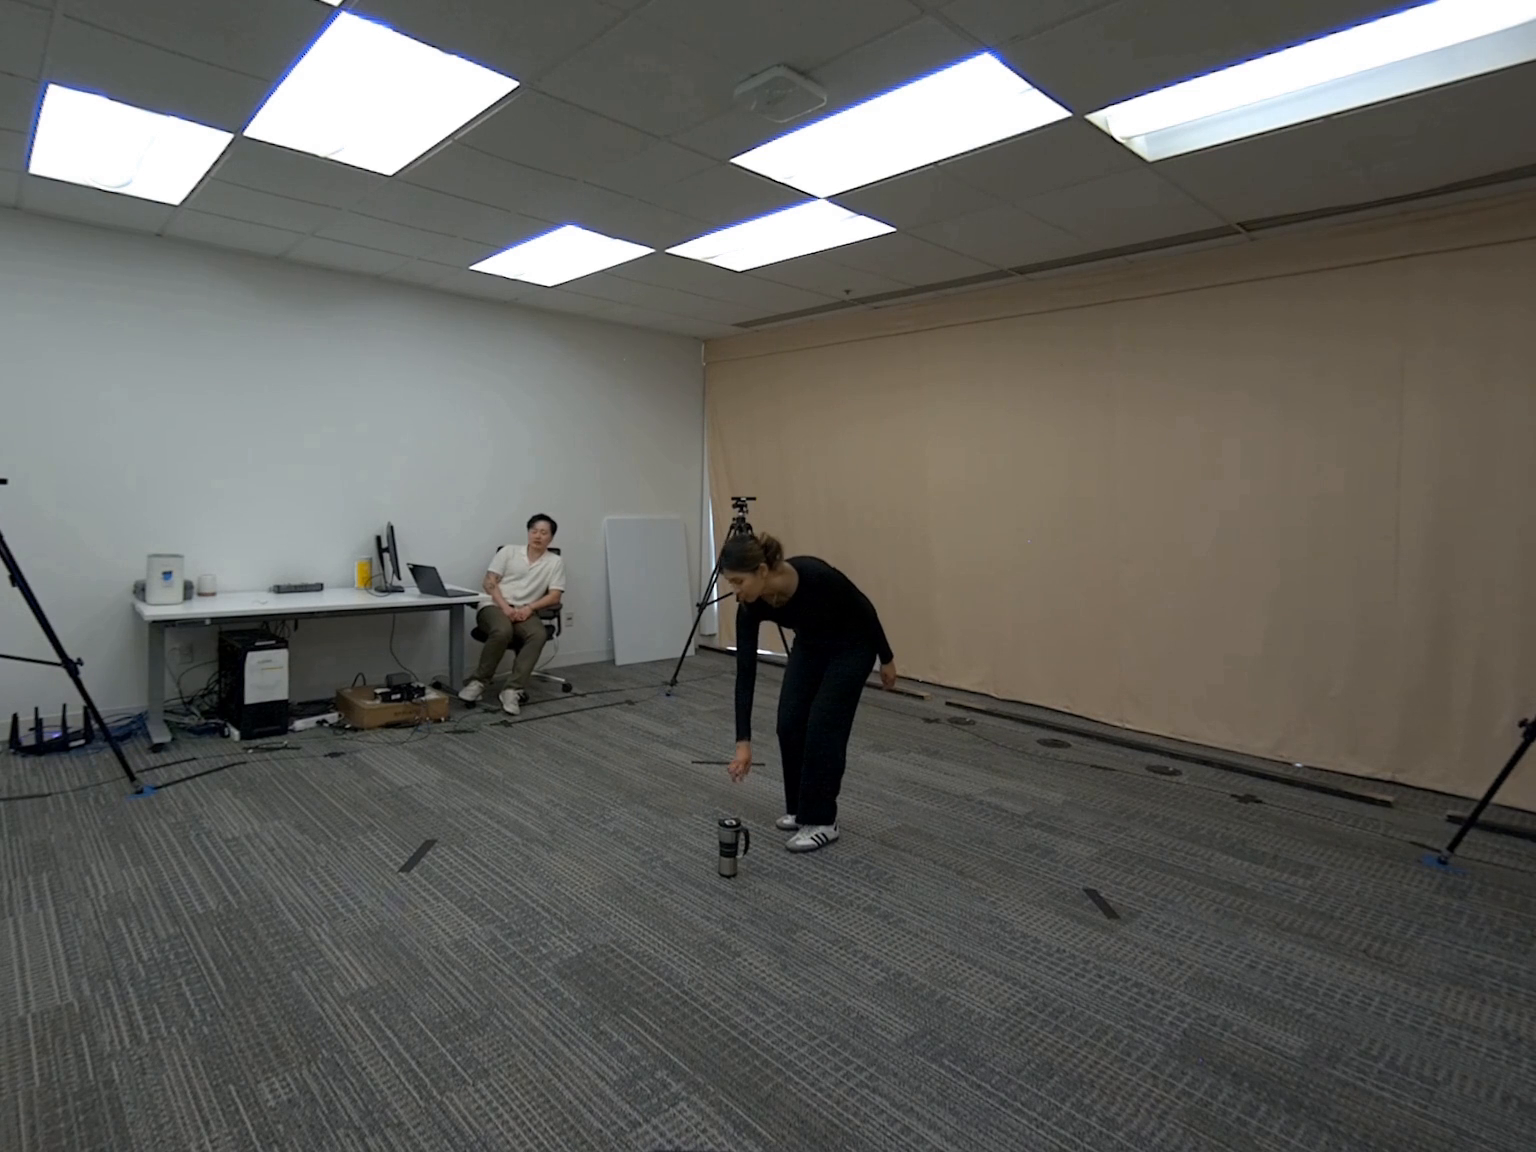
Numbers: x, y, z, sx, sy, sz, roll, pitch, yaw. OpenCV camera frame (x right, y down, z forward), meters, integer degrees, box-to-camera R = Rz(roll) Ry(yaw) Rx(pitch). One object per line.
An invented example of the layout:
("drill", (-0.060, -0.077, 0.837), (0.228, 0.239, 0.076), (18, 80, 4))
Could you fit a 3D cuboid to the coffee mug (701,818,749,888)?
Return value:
("coffee mug", (-0.159, 1.010, 3.101), (0.119, 0.202, 0.090), (4, 5, -37))
